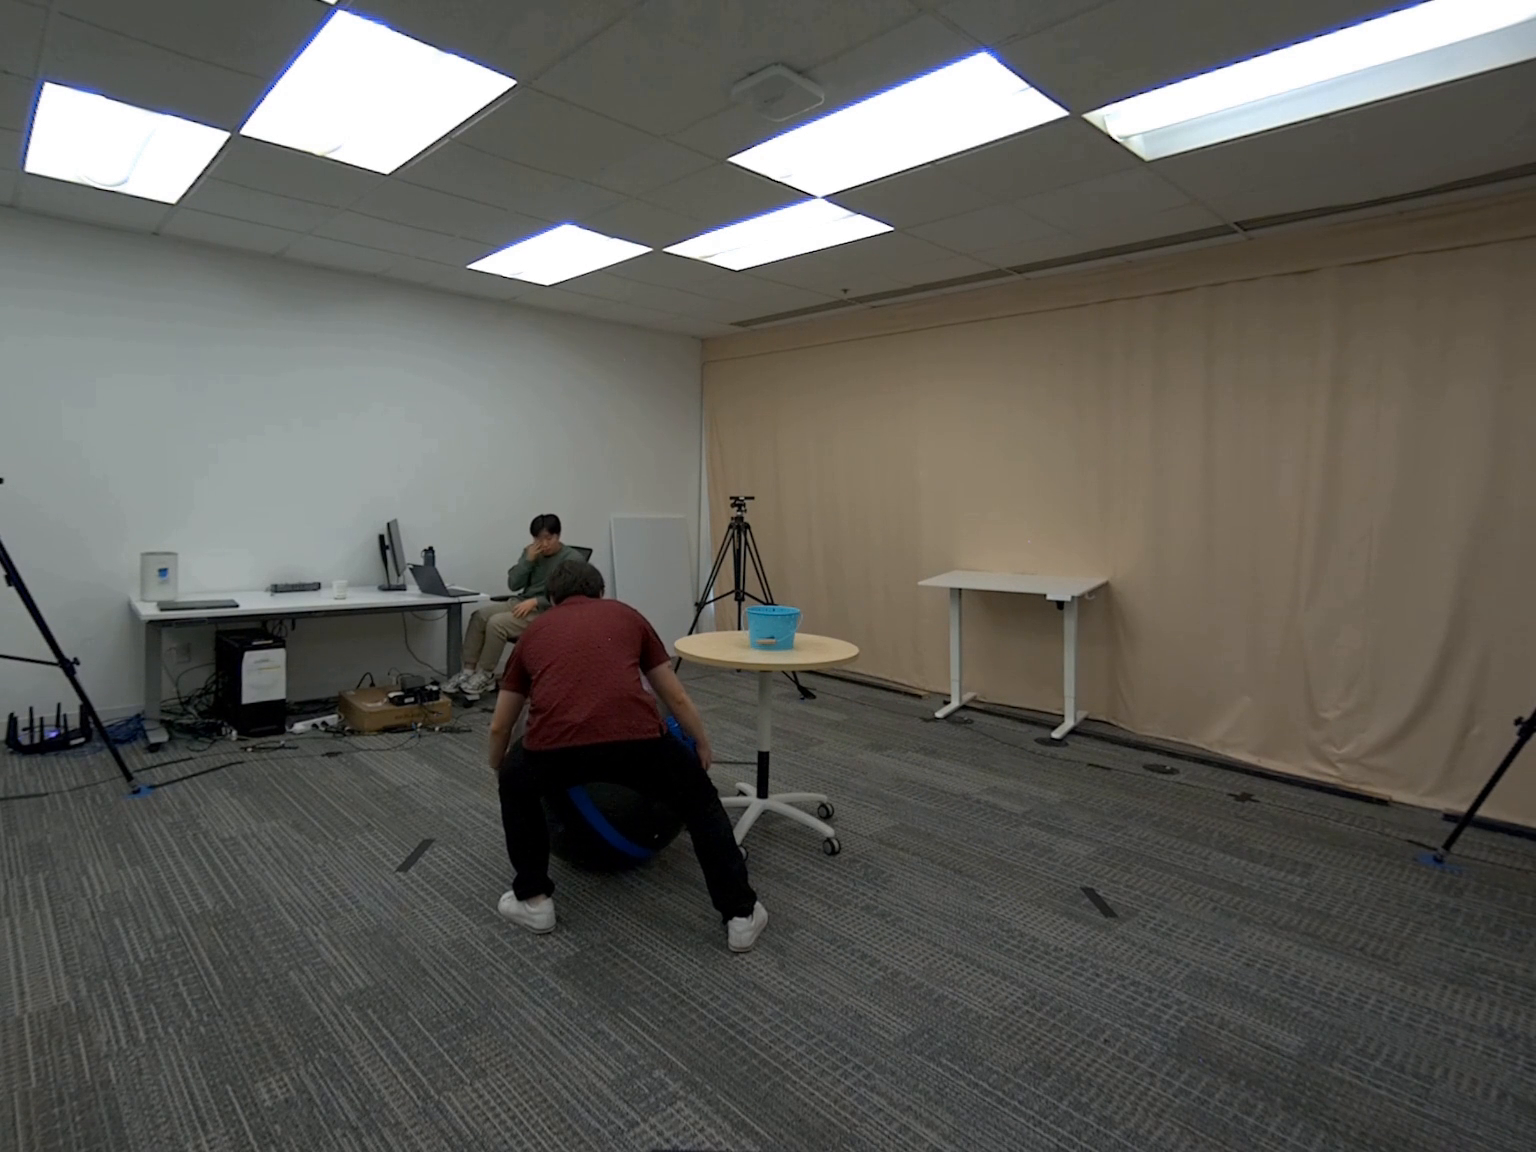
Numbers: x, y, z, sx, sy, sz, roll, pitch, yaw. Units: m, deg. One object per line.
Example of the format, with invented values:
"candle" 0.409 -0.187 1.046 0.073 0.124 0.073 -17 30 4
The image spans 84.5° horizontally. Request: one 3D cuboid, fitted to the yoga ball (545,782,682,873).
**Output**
"yoga ball" -0.615 0.722 3.213 0.757 0.756 0.761 1 4 -1
